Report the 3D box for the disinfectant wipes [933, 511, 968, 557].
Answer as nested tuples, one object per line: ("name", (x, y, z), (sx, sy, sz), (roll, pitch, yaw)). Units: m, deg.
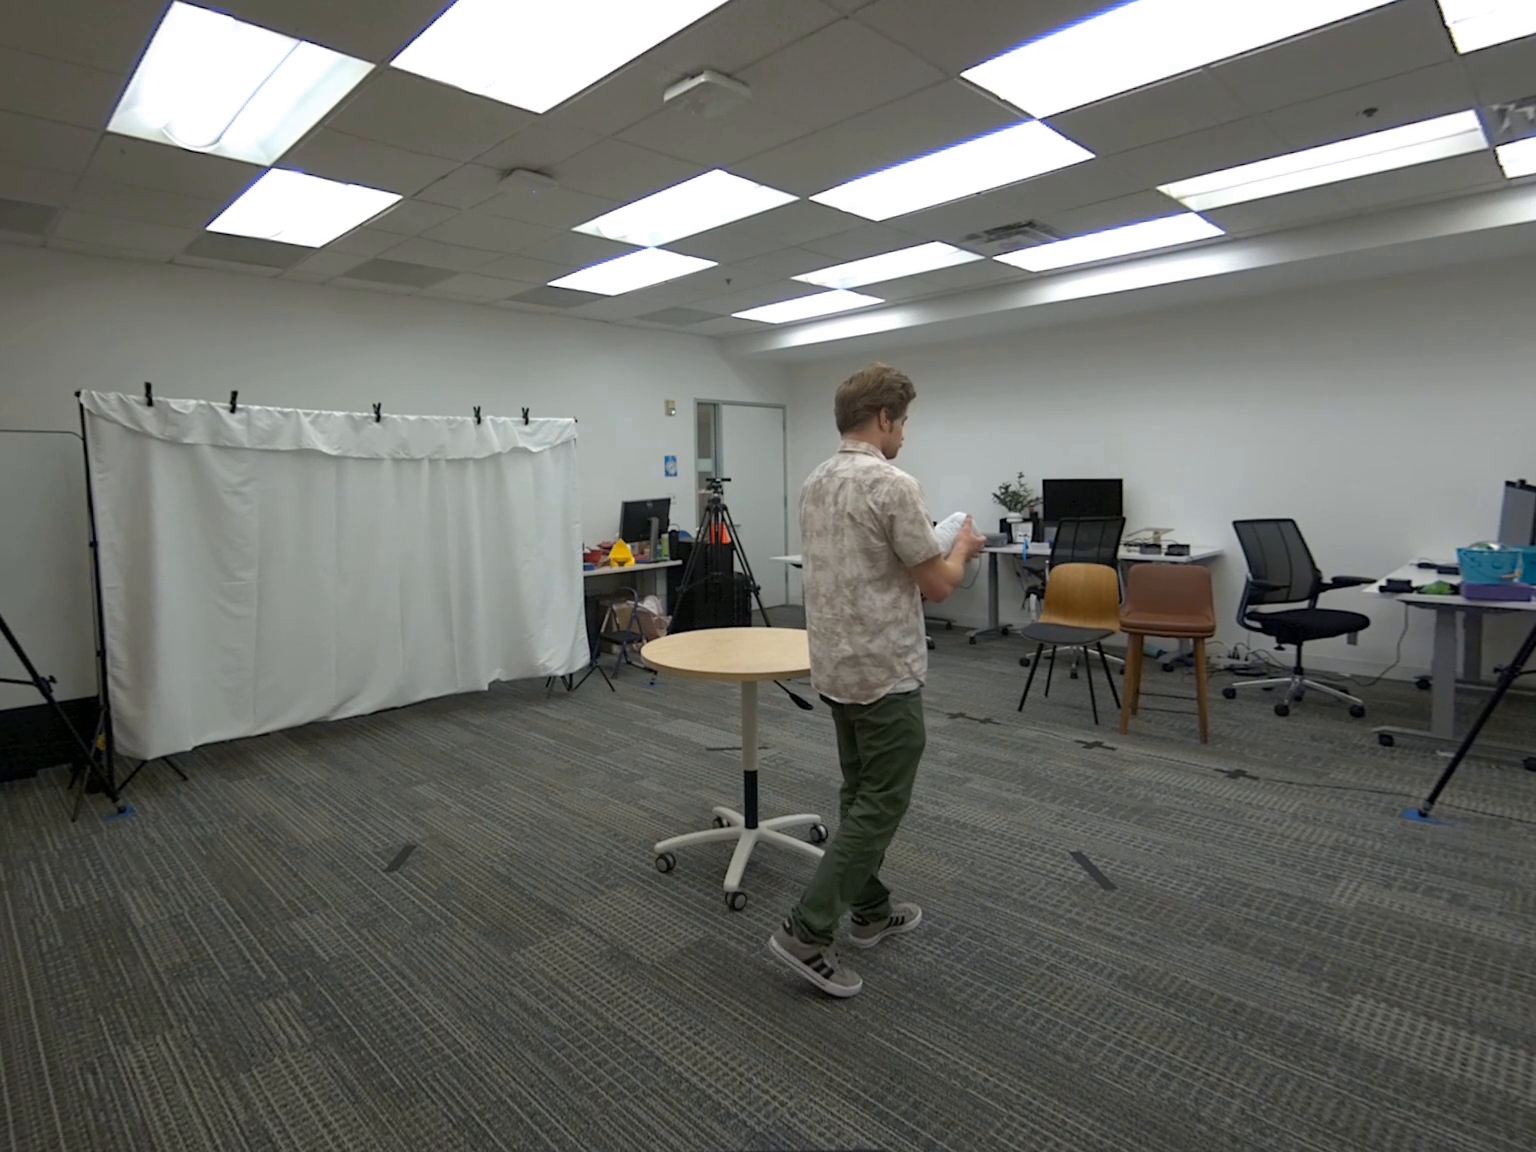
("disinfectant wipes", (0.536, -0.103, 2.578), (0.216, 0.116, 0.121), (-31, 17, -22))
